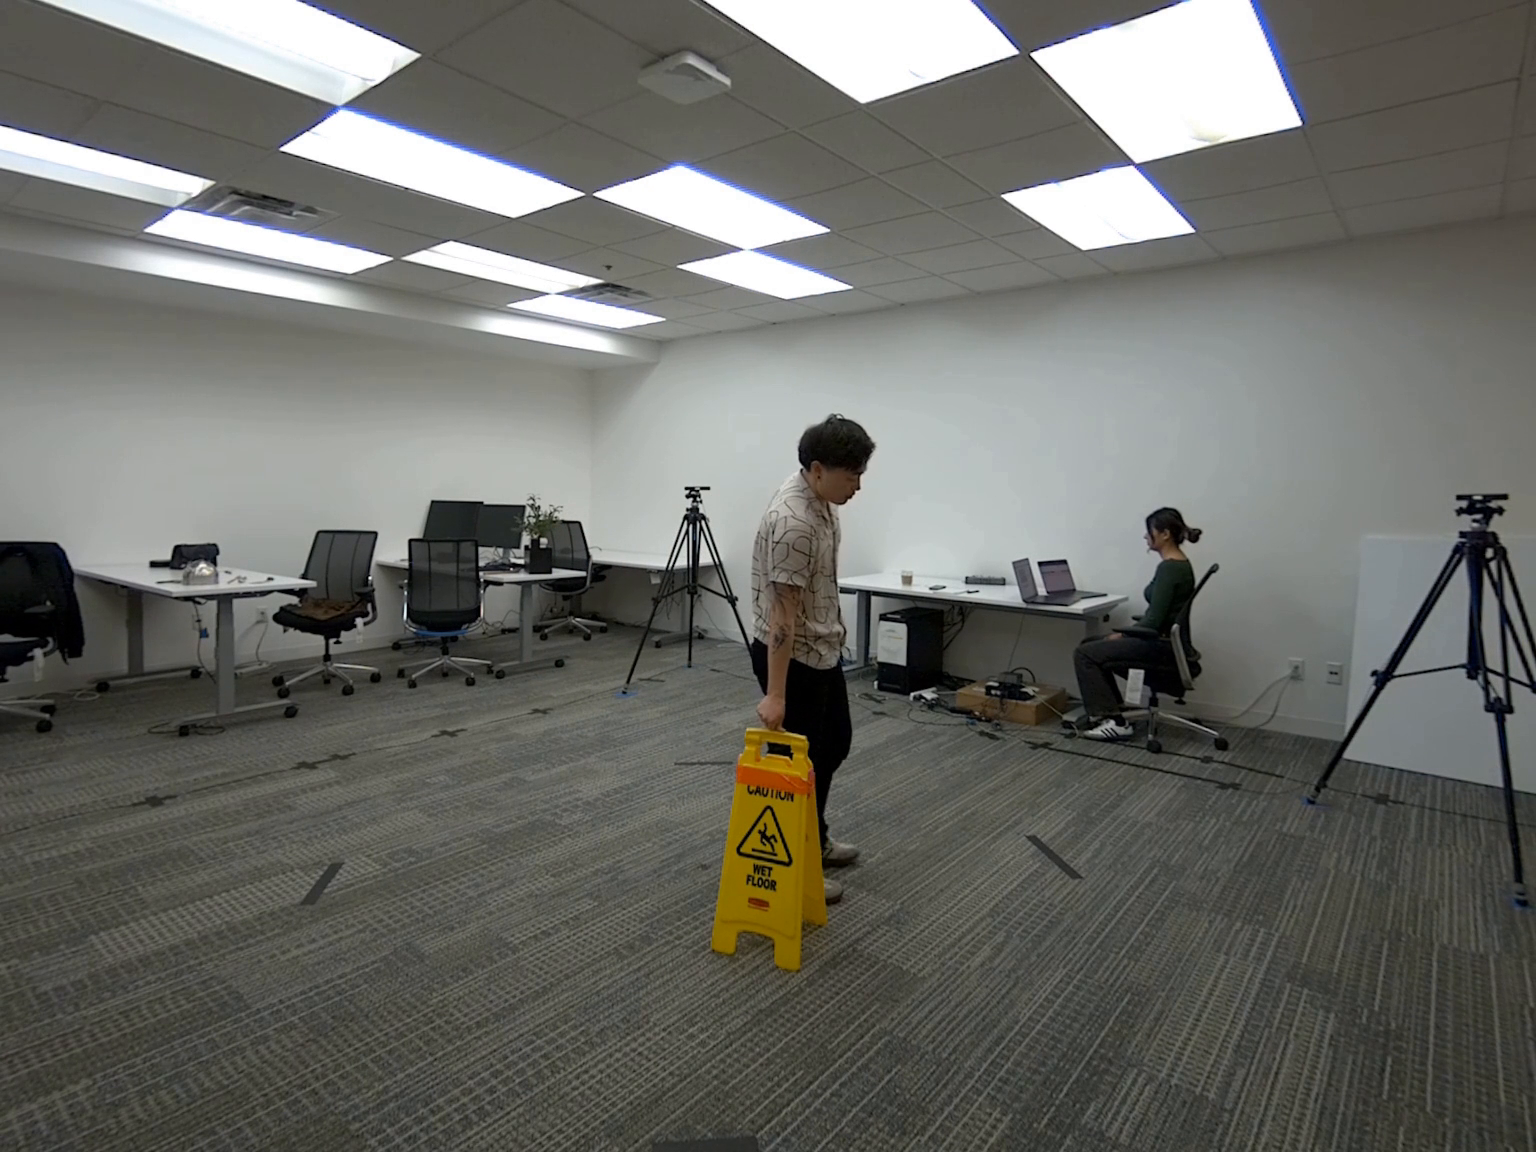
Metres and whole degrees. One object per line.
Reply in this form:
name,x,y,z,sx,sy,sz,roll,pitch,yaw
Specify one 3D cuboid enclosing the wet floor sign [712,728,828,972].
wet floor sign,0.009,0.792,2.626,0.289,0.644,0.283,4,3,22
